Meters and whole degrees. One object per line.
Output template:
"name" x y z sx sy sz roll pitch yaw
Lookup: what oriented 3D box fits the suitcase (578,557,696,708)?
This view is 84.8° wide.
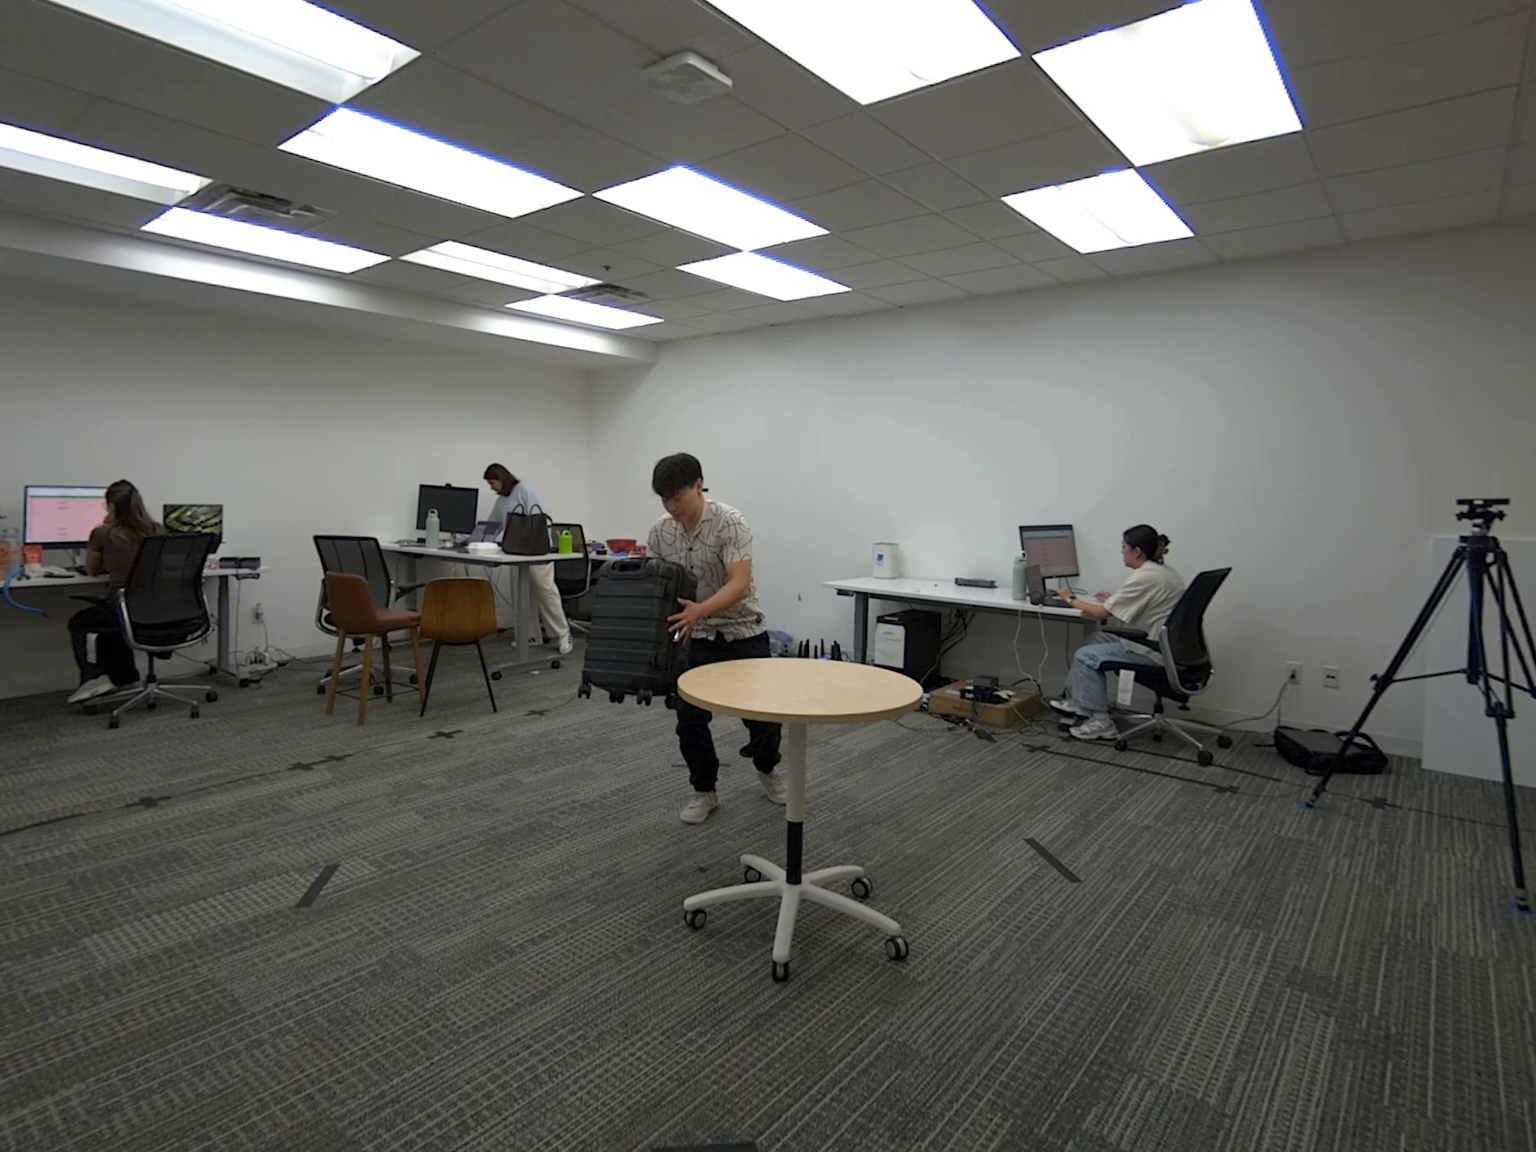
"suitcase" -0.504 0.207 3.241 0.386 0.555 0.239 -2 -15 33
